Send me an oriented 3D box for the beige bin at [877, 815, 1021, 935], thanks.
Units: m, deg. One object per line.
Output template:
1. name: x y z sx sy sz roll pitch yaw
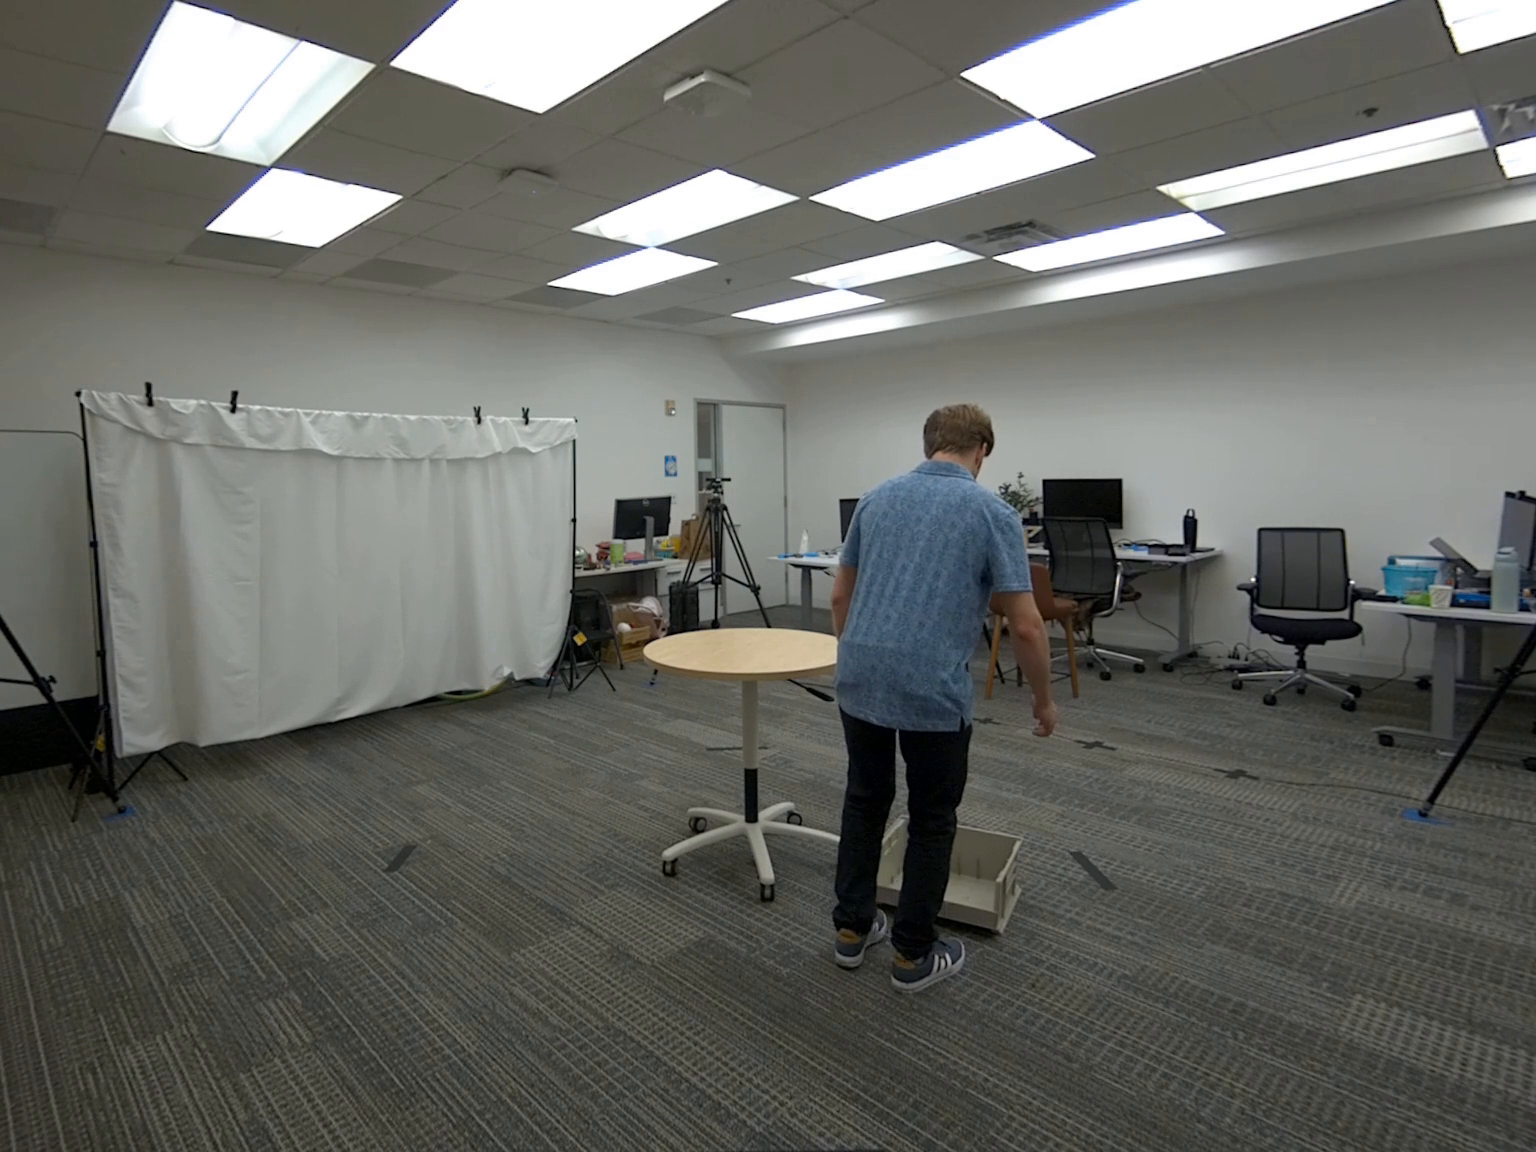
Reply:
1. beige bin: 0.589 0.979 2.803 0.433 0.188 0.369 2 6 29
